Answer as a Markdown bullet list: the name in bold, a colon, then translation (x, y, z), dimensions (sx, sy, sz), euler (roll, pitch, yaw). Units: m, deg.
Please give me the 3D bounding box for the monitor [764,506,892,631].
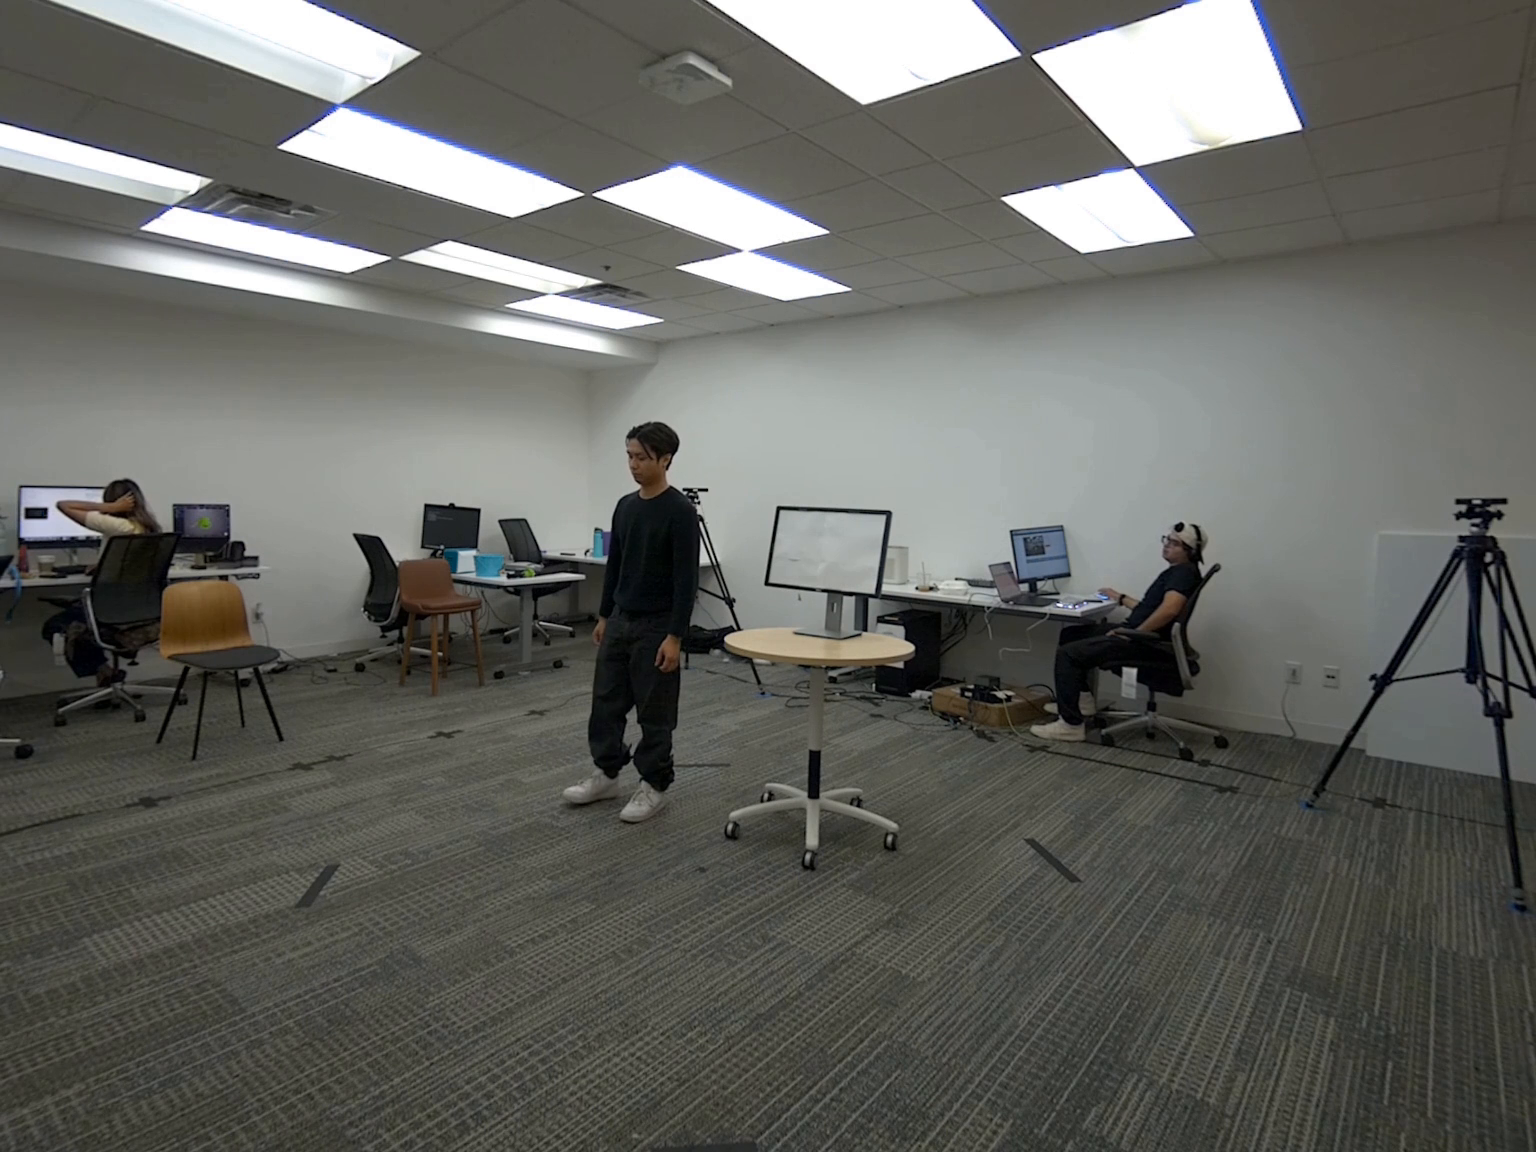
- **monitor**: translation (0.258, -0.020, 3.651), dimensions (0.556, 0.521, 0.182), euler (4, 4, 35)
